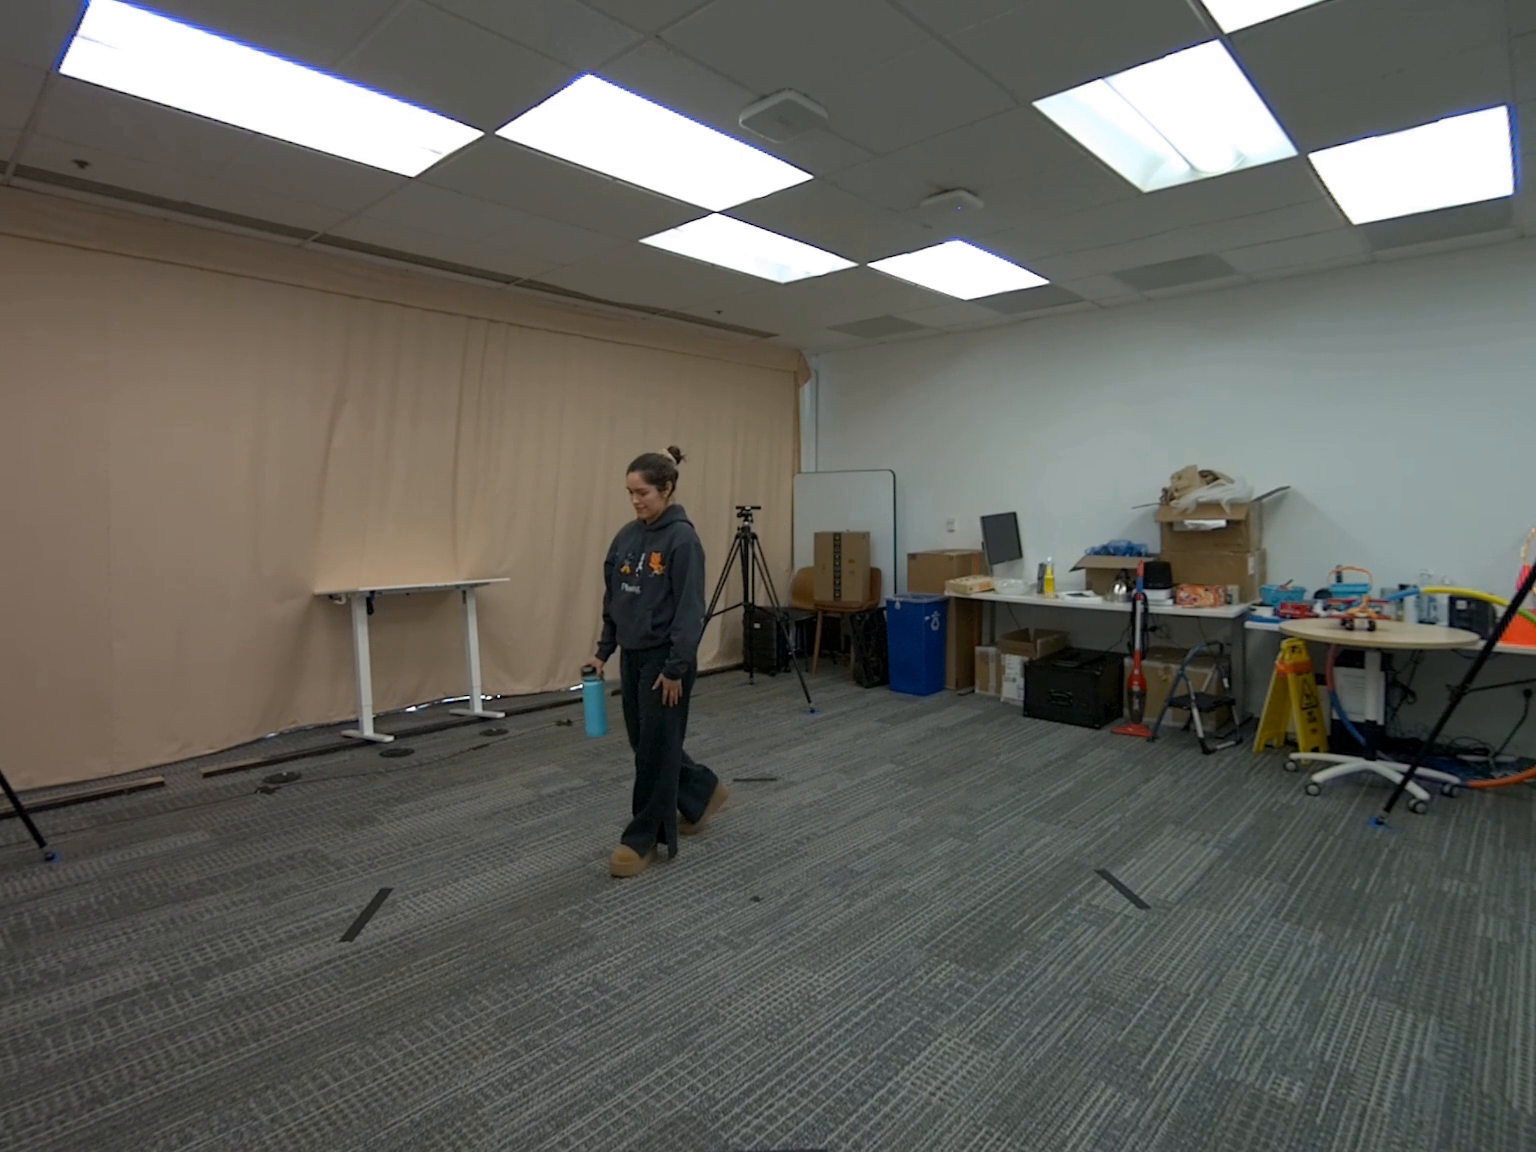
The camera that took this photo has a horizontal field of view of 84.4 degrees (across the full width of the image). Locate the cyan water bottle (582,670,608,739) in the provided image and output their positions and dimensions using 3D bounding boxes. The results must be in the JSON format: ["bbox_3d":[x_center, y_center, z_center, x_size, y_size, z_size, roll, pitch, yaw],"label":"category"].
[{"bbox_3d":[-0.697,0.516,3.458,0.092,0.282,0.093,-6,7,-1],"label":"cyan water bottle"}]
